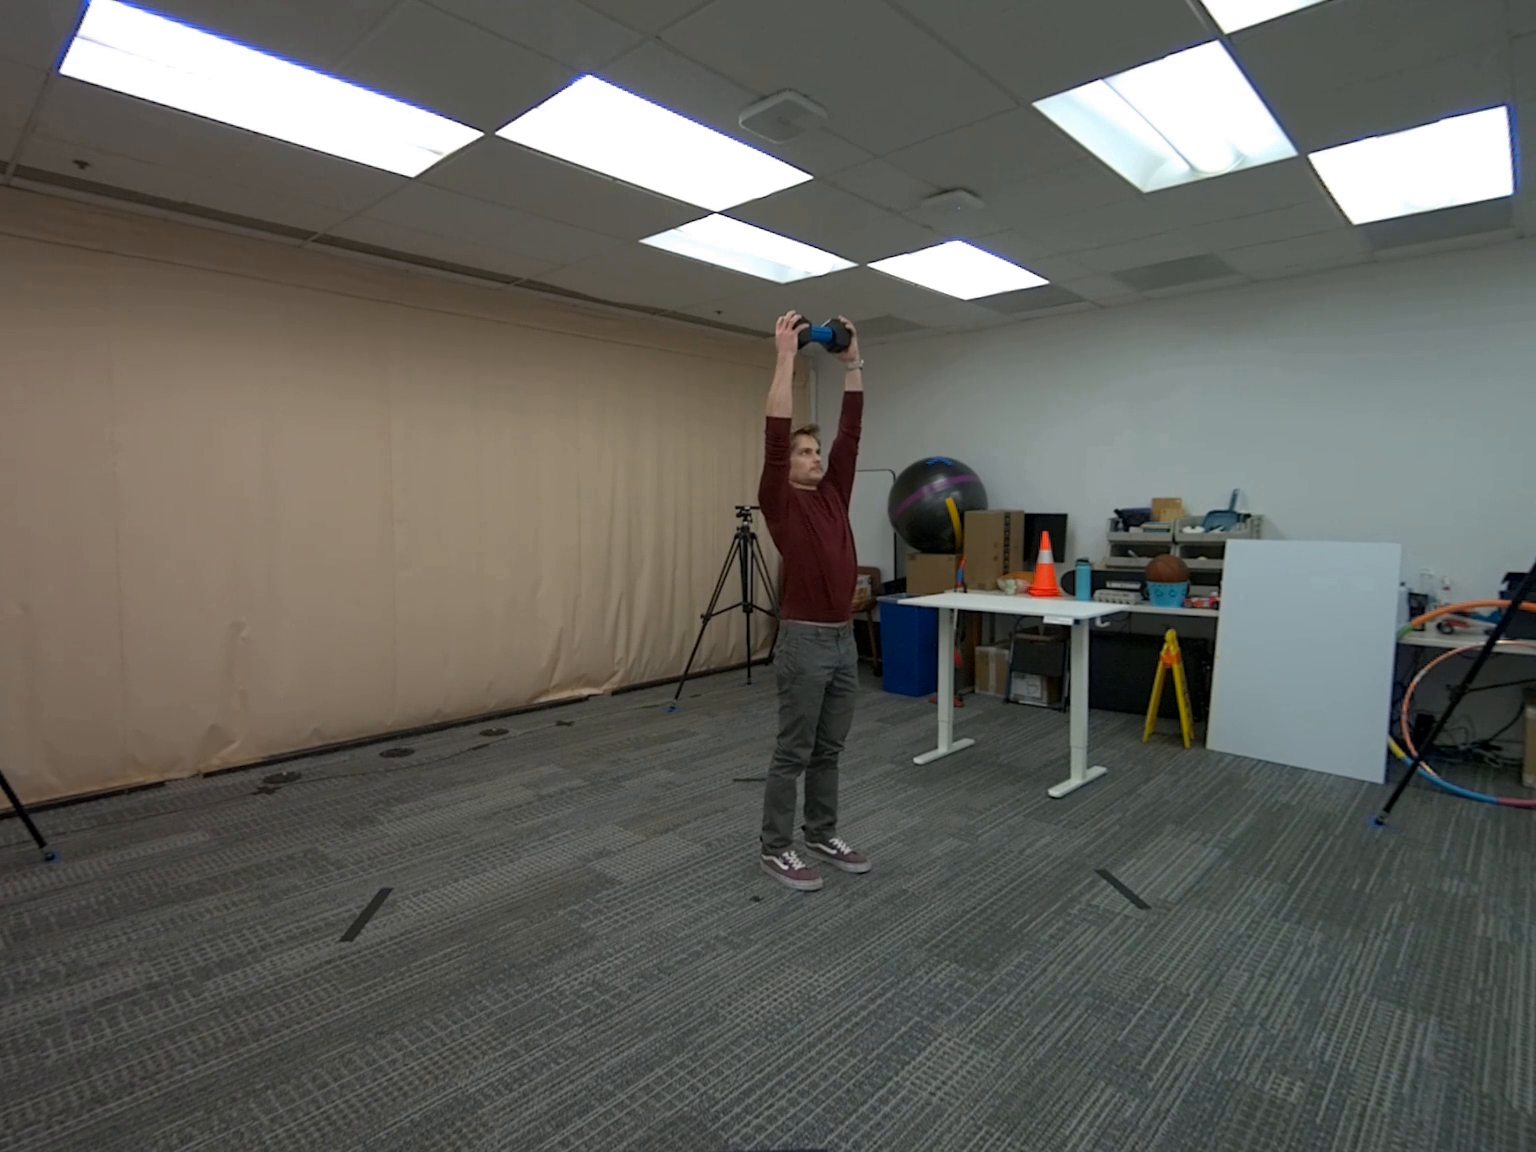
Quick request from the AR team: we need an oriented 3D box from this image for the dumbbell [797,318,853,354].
[{"bbox_3d":[0.182,-0.878,3.091,0.285,0.122,0.112,-9,17,-40],"label":"dumbbell"}]
